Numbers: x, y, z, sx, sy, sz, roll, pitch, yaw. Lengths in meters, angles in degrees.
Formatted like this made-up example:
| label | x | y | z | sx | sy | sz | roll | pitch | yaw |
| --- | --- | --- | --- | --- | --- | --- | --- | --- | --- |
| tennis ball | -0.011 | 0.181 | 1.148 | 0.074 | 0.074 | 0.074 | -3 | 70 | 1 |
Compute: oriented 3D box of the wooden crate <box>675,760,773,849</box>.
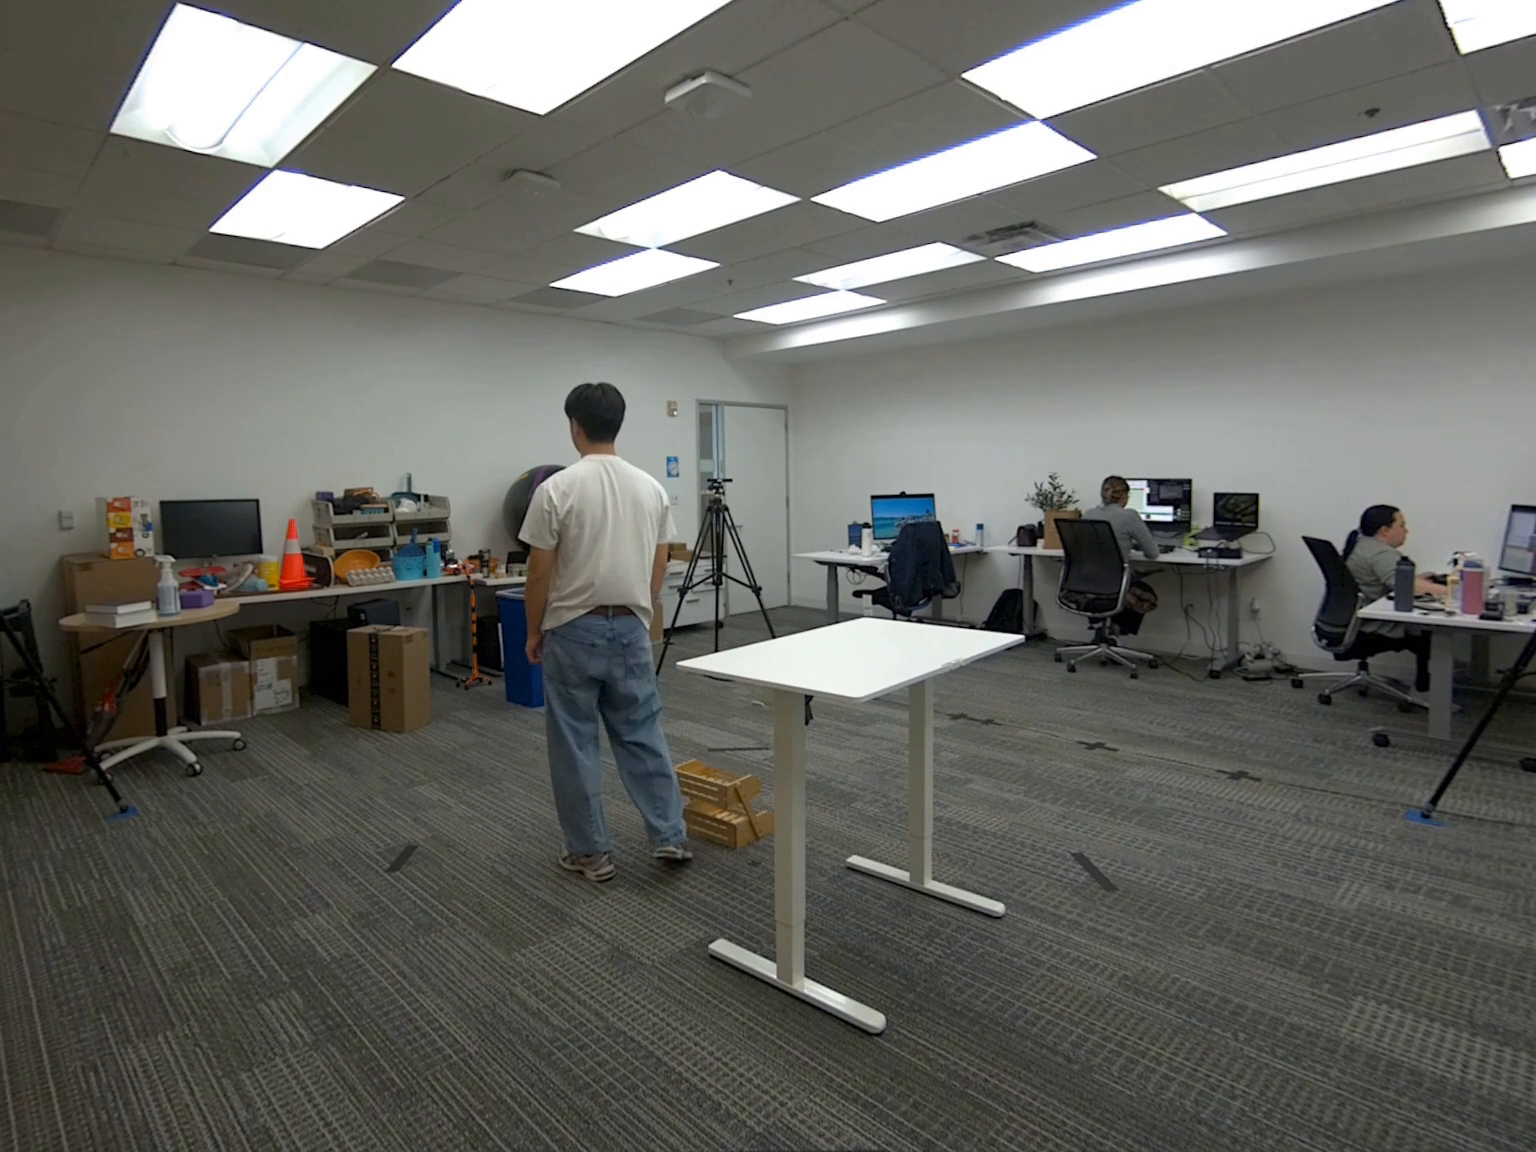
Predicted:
| label | x | y | z | sx | sy | sz | roll | pitch | yaw |
| --- | --- | --- | --- | --- | --- | --- | --- | --- | --- |
| wooden crate | -0.172 | 0.880 | 3.392 | 0.334 | 0.272 | 0.294 | 4 | 7 | 40 |
